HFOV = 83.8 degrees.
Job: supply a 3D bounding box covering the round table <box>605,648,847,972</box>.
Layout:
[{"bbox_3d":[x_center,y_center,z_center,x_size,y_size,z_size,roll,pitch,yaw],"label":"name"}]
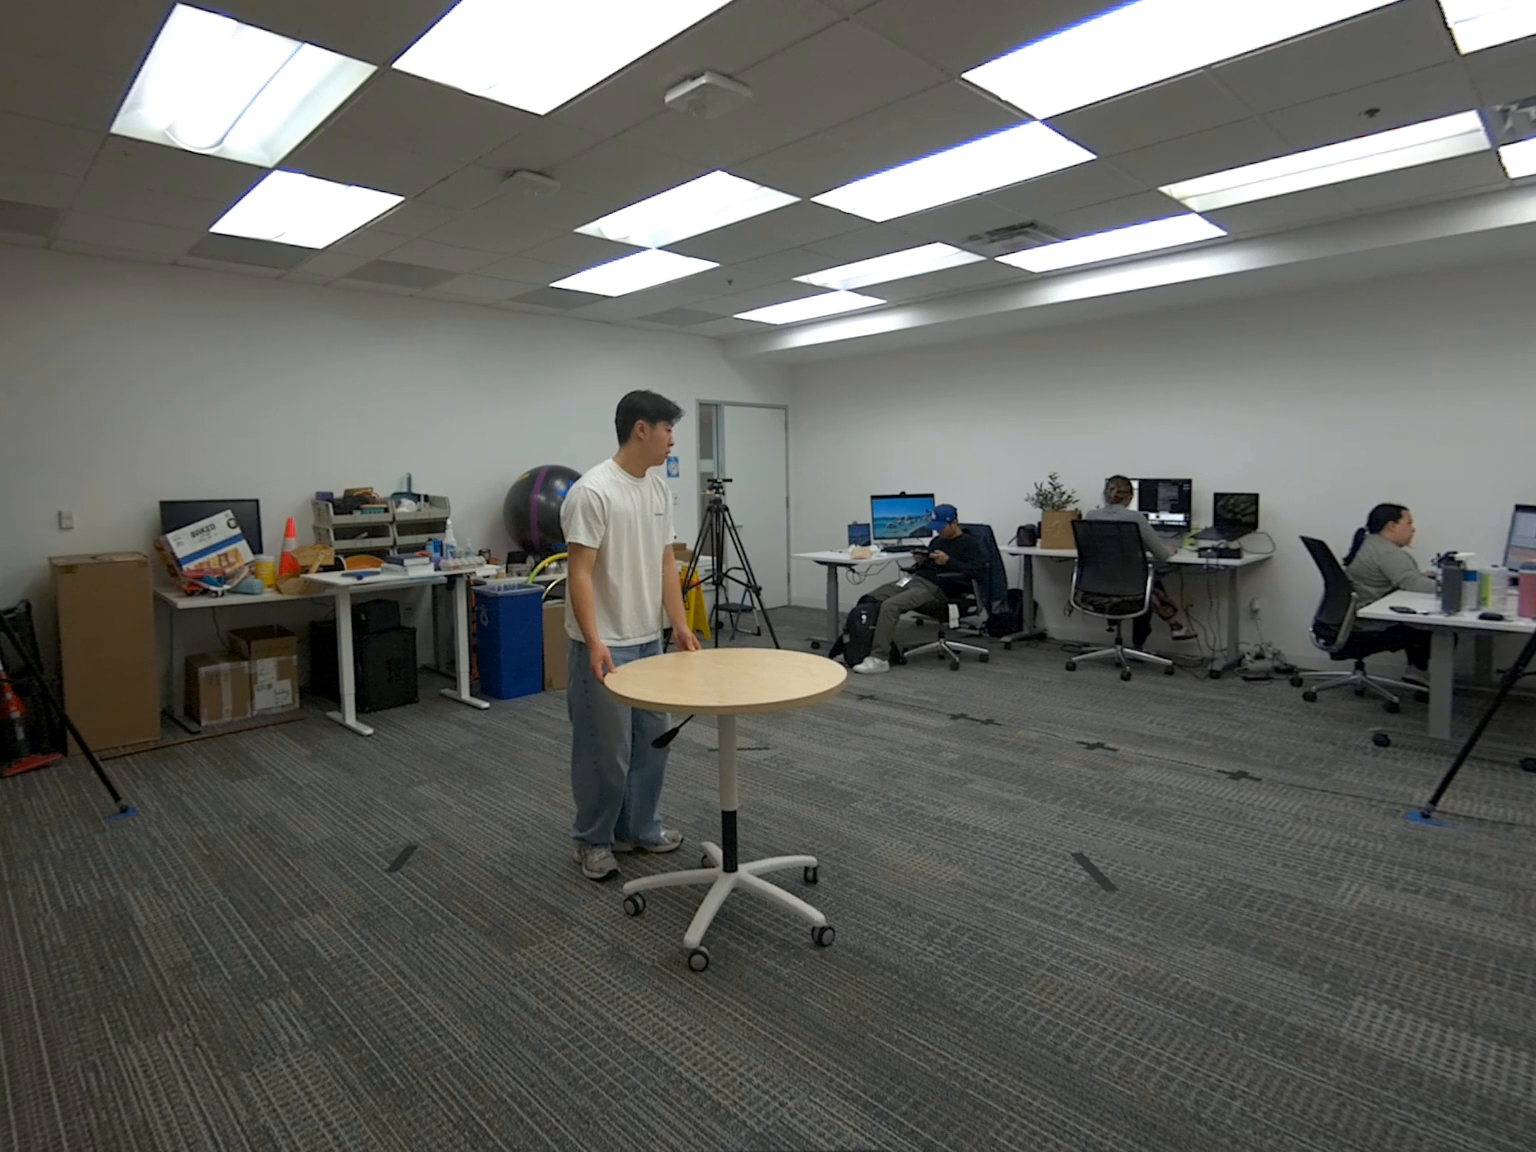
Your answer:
[{"bbox_3d":[-0.119,0.701,2.737,0.763,0.790,0.768,-2,5,-2],"label":"round table"}]
